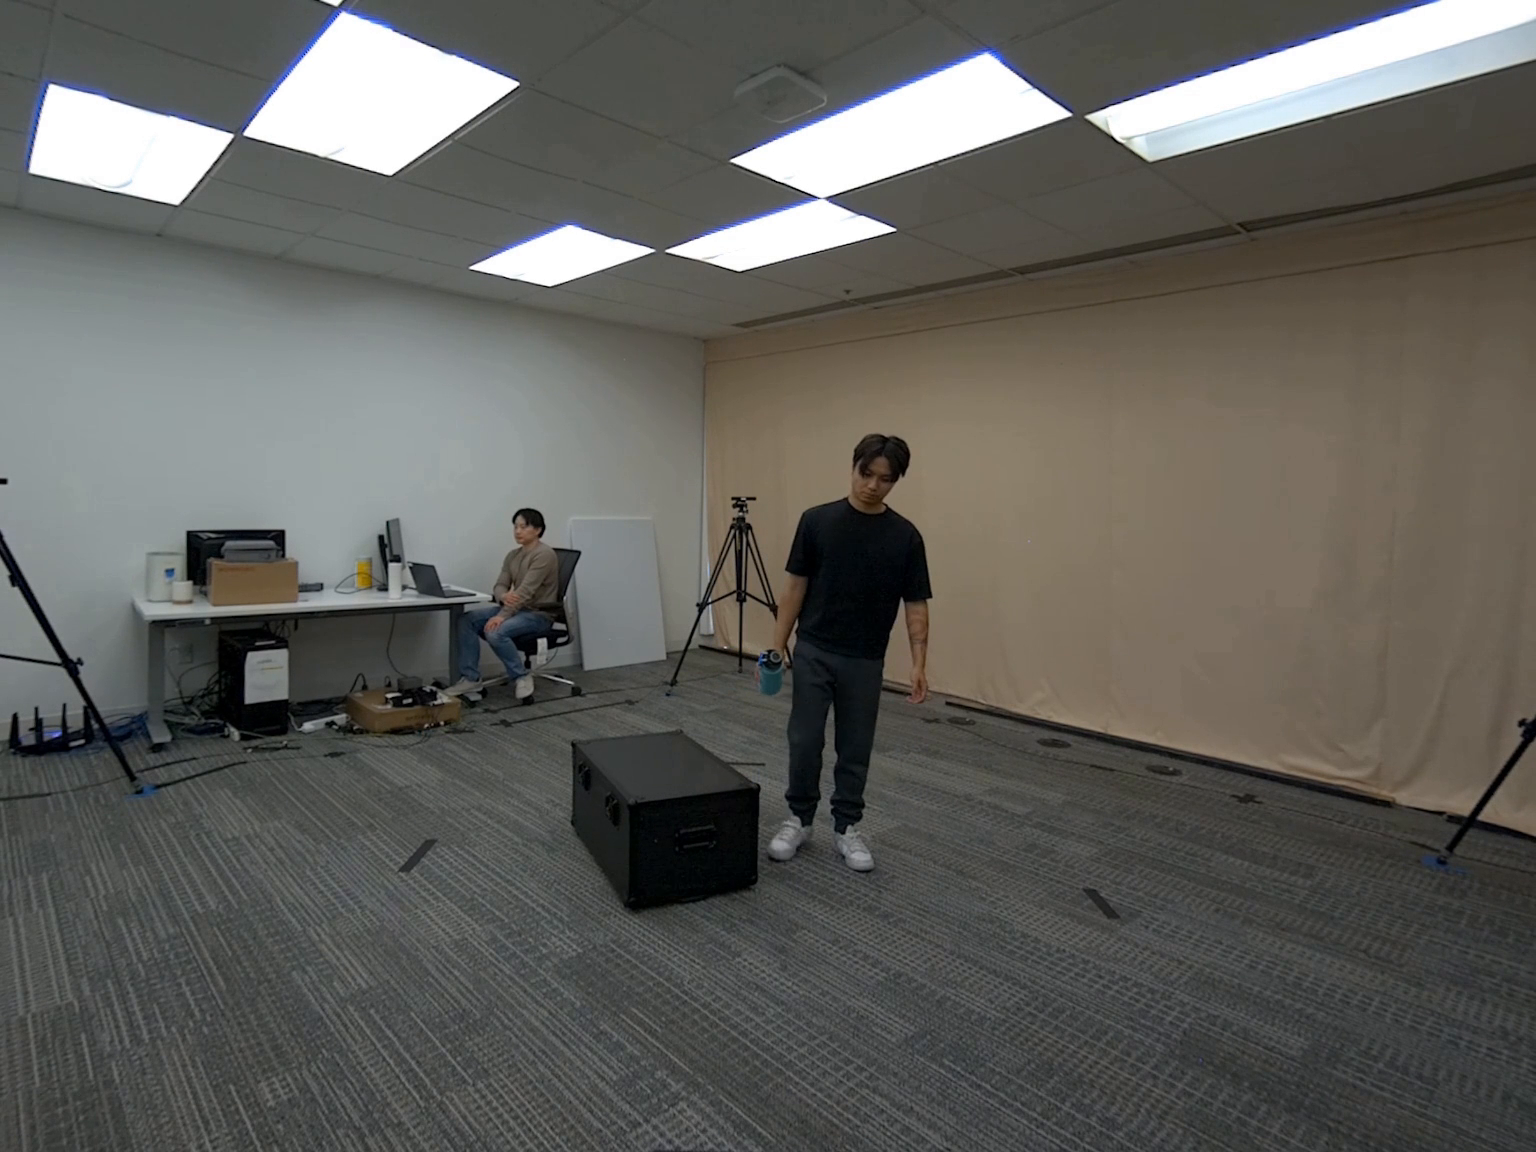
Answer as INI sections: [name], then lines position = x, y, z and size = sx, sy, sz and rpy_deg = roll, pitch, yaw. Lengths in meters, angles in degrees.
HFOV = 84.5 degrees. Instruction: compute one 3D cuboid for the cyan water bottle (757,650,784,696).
[cyan water bottle]
position = 0.005, 0.365, 3.200
size = 0.093, 0.094, 0.277
rpy_deg = 2, -28, 6
